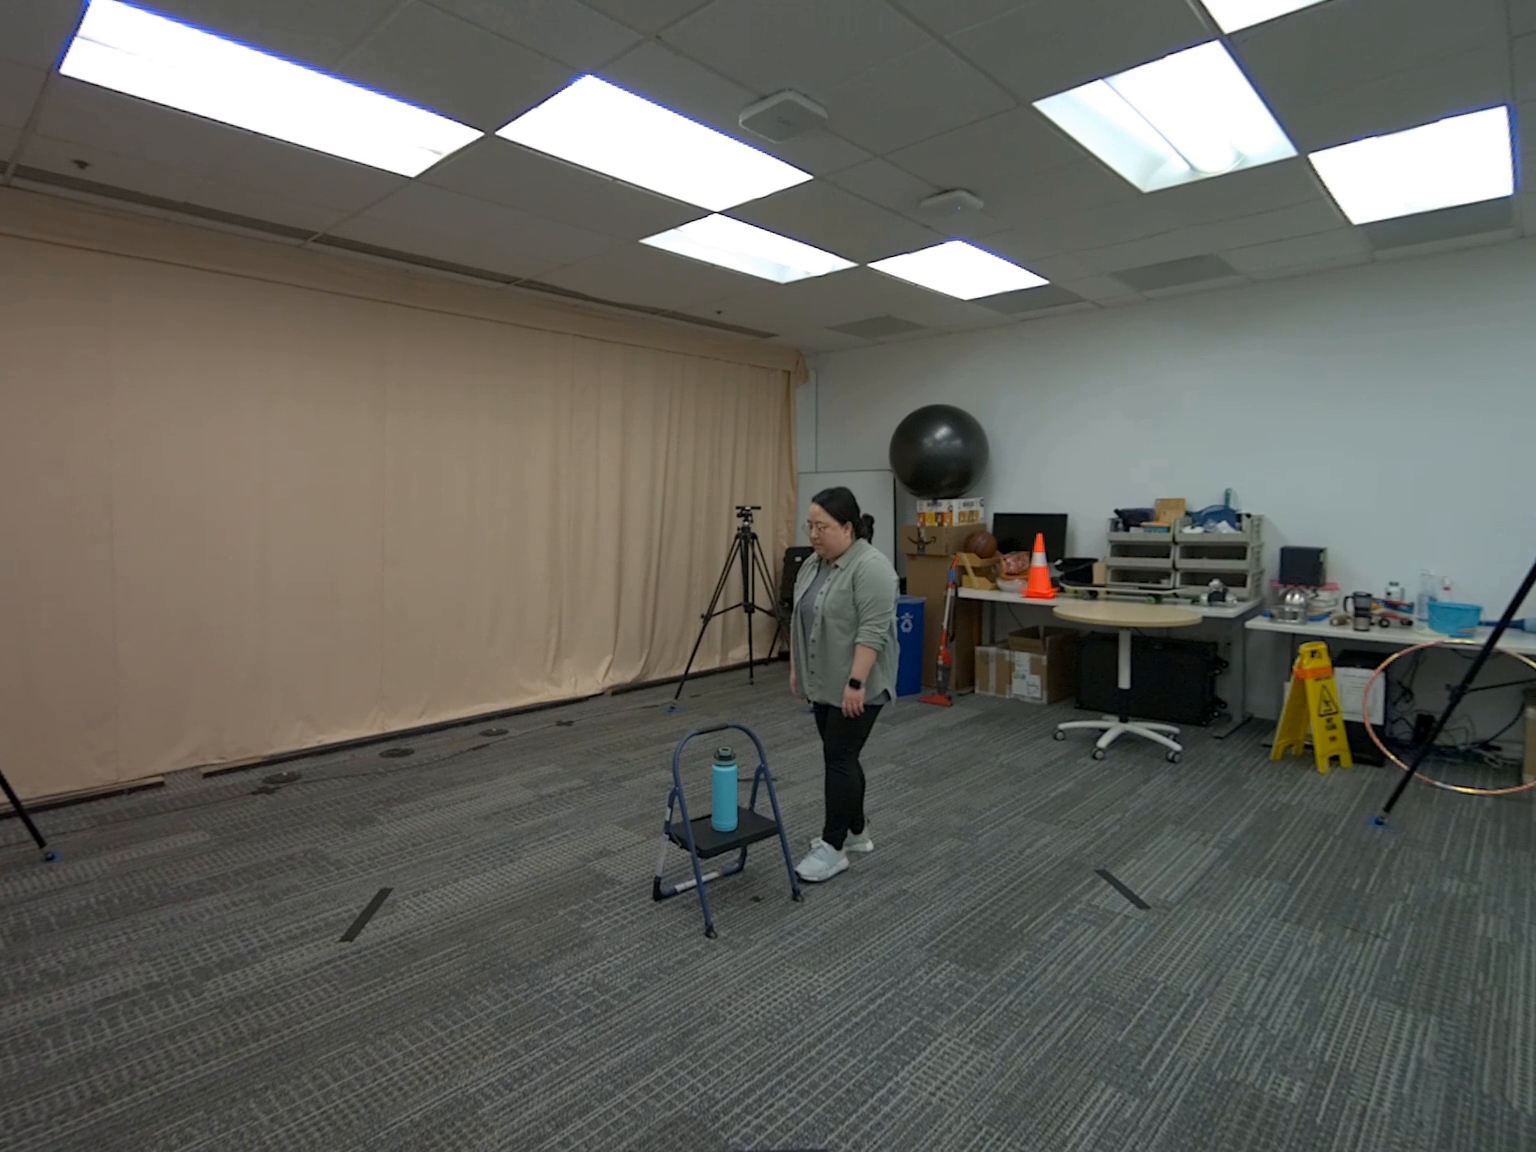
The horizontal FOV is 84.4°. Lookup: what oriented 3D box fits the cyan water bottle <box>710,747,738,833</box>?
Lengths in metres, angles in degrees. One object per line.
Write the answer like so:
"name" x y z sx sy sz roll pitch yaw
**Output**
"cyan water bottle" -0.156 0.746 2.955 0.092 0.282 0.093 0 4 -2
